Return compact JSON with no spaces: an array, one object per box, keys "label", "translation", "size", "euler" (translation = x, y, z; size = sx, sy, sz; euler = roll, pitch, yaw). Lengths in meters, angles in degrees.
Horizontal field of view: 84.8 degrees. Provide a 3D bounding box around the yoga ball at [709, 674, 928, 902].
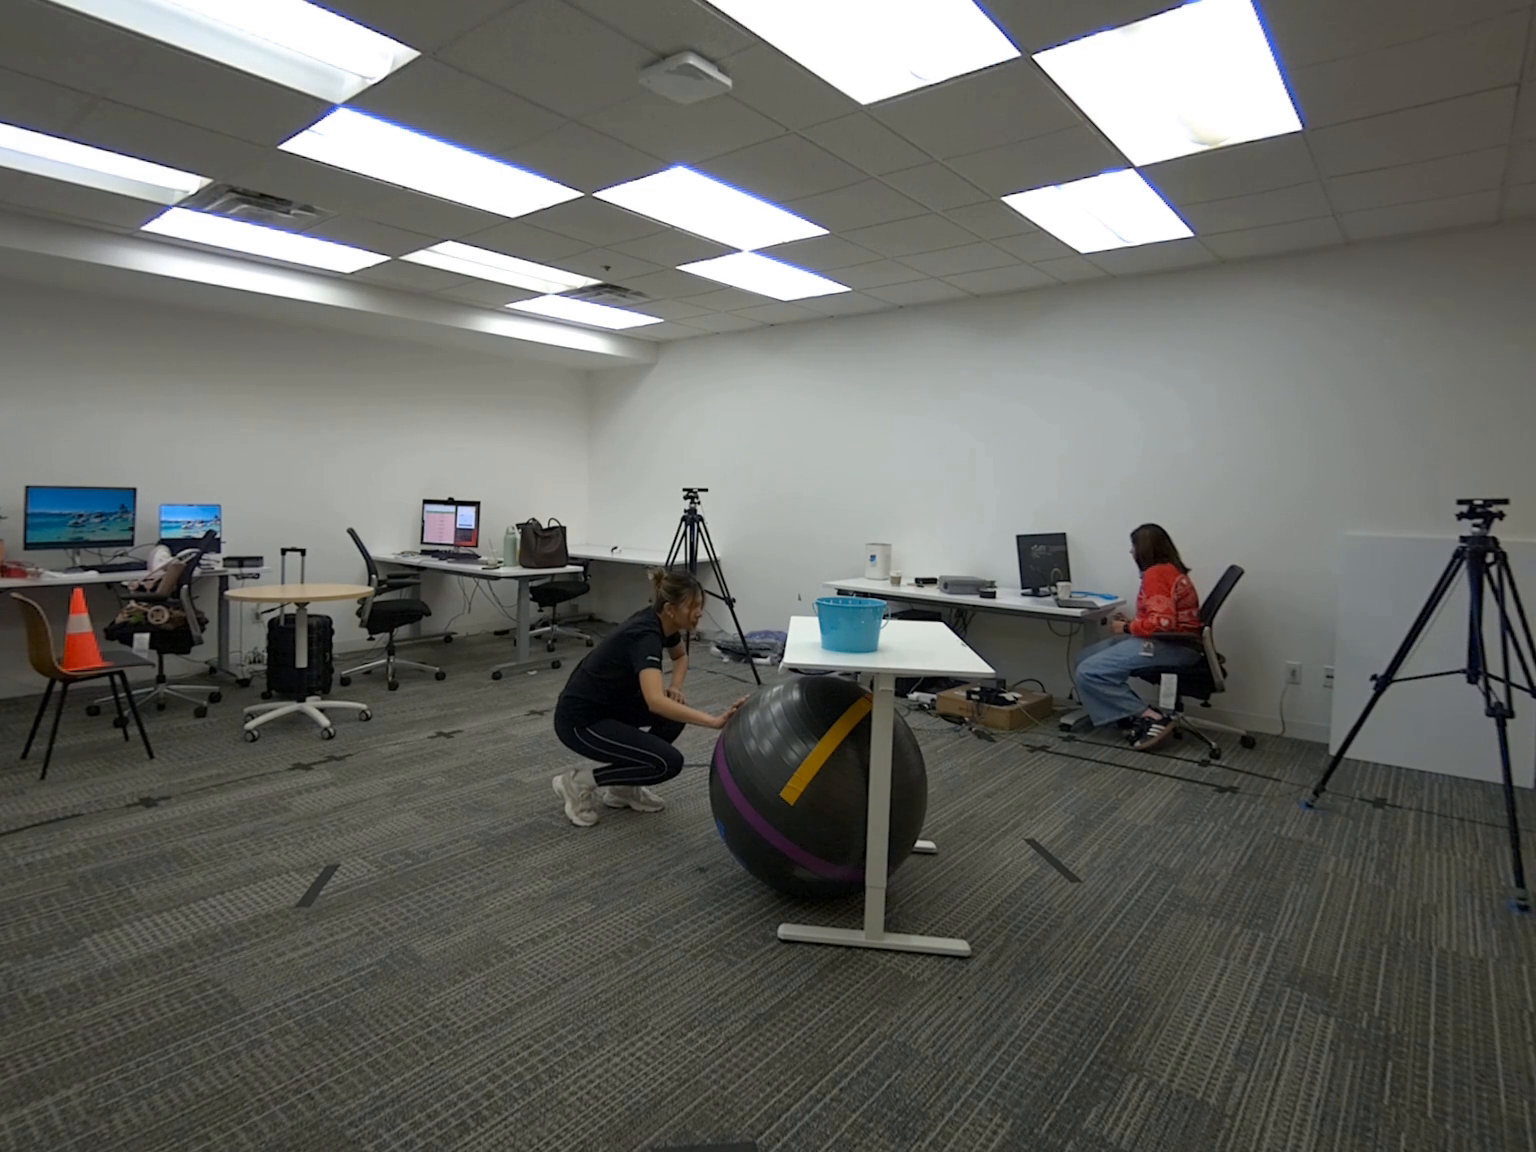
[{"label":"yoga ball","translation":[0.175,0.741,2.974],"size":[0.757,0.756,0.762],"euler":[1,4,-2]}]
